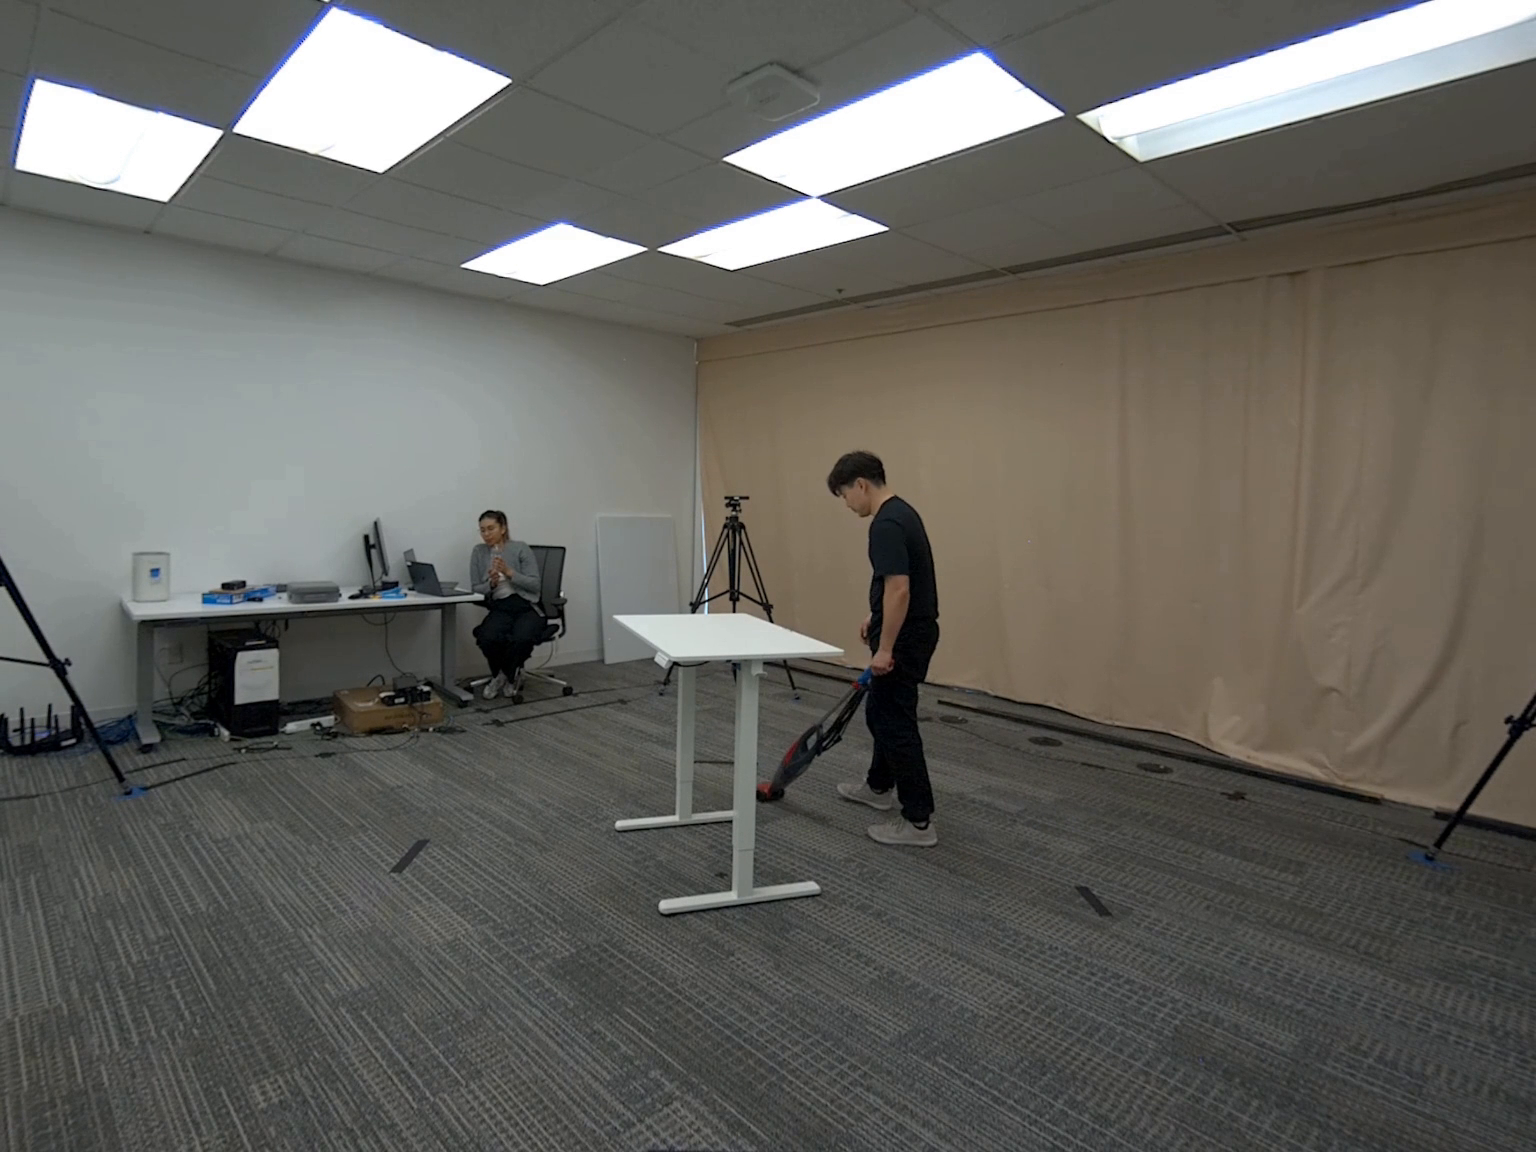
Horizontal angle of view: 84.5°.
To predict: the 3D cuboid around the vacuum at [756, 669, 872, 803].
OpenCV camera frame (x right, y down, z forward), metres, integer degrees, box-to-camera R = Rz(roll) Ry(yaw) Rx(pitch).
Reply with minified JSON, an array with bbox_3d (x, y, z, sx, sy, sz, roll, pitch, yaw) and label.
[{"bbox_3d":[0.223,0.687,3.646,0.247,0.147,1.046,-6,-33,-43],"label":"vacuum"}]
